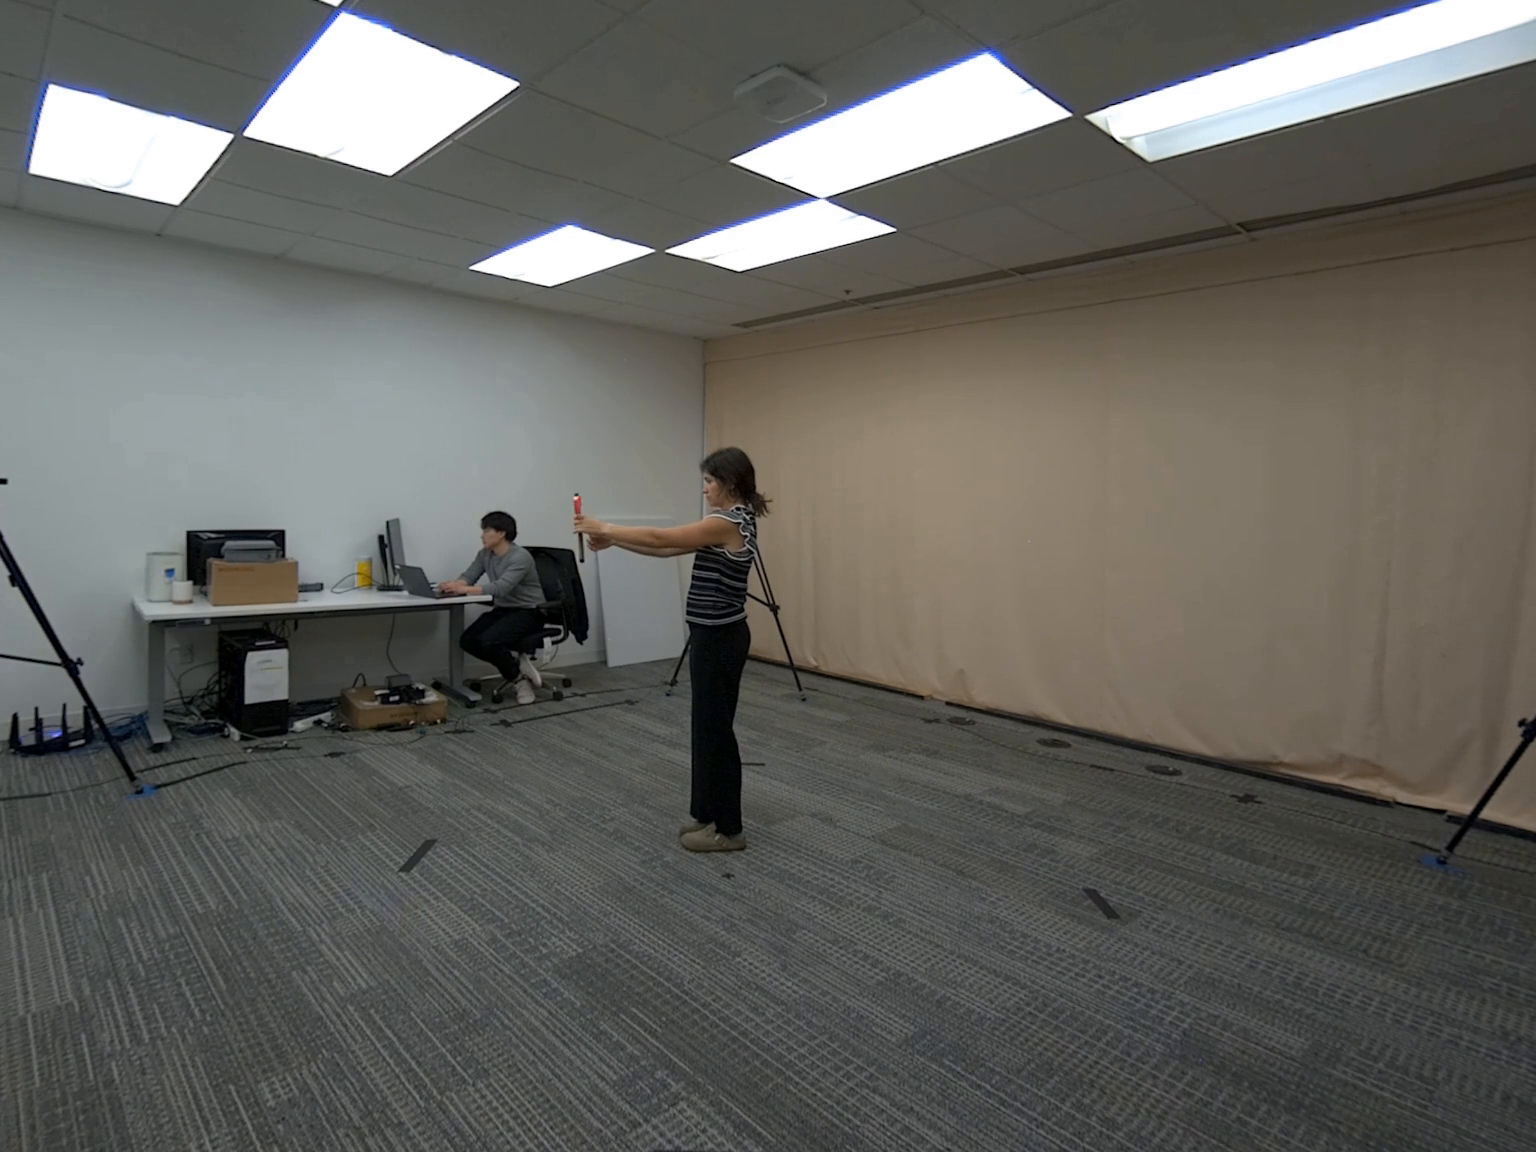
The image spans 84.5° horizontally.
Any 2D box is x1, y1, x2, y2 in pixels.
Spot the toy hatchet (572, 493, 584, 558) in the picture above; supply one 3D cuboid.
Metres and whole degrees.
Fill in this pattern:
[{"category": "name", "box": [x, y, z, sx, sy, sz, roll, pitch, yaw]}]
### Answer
[{"category": "toy hatchet", "box": [-0.752, -0.187, 3.314, 0.029, 0.272, 0.131, -5, -7, -6]}]
